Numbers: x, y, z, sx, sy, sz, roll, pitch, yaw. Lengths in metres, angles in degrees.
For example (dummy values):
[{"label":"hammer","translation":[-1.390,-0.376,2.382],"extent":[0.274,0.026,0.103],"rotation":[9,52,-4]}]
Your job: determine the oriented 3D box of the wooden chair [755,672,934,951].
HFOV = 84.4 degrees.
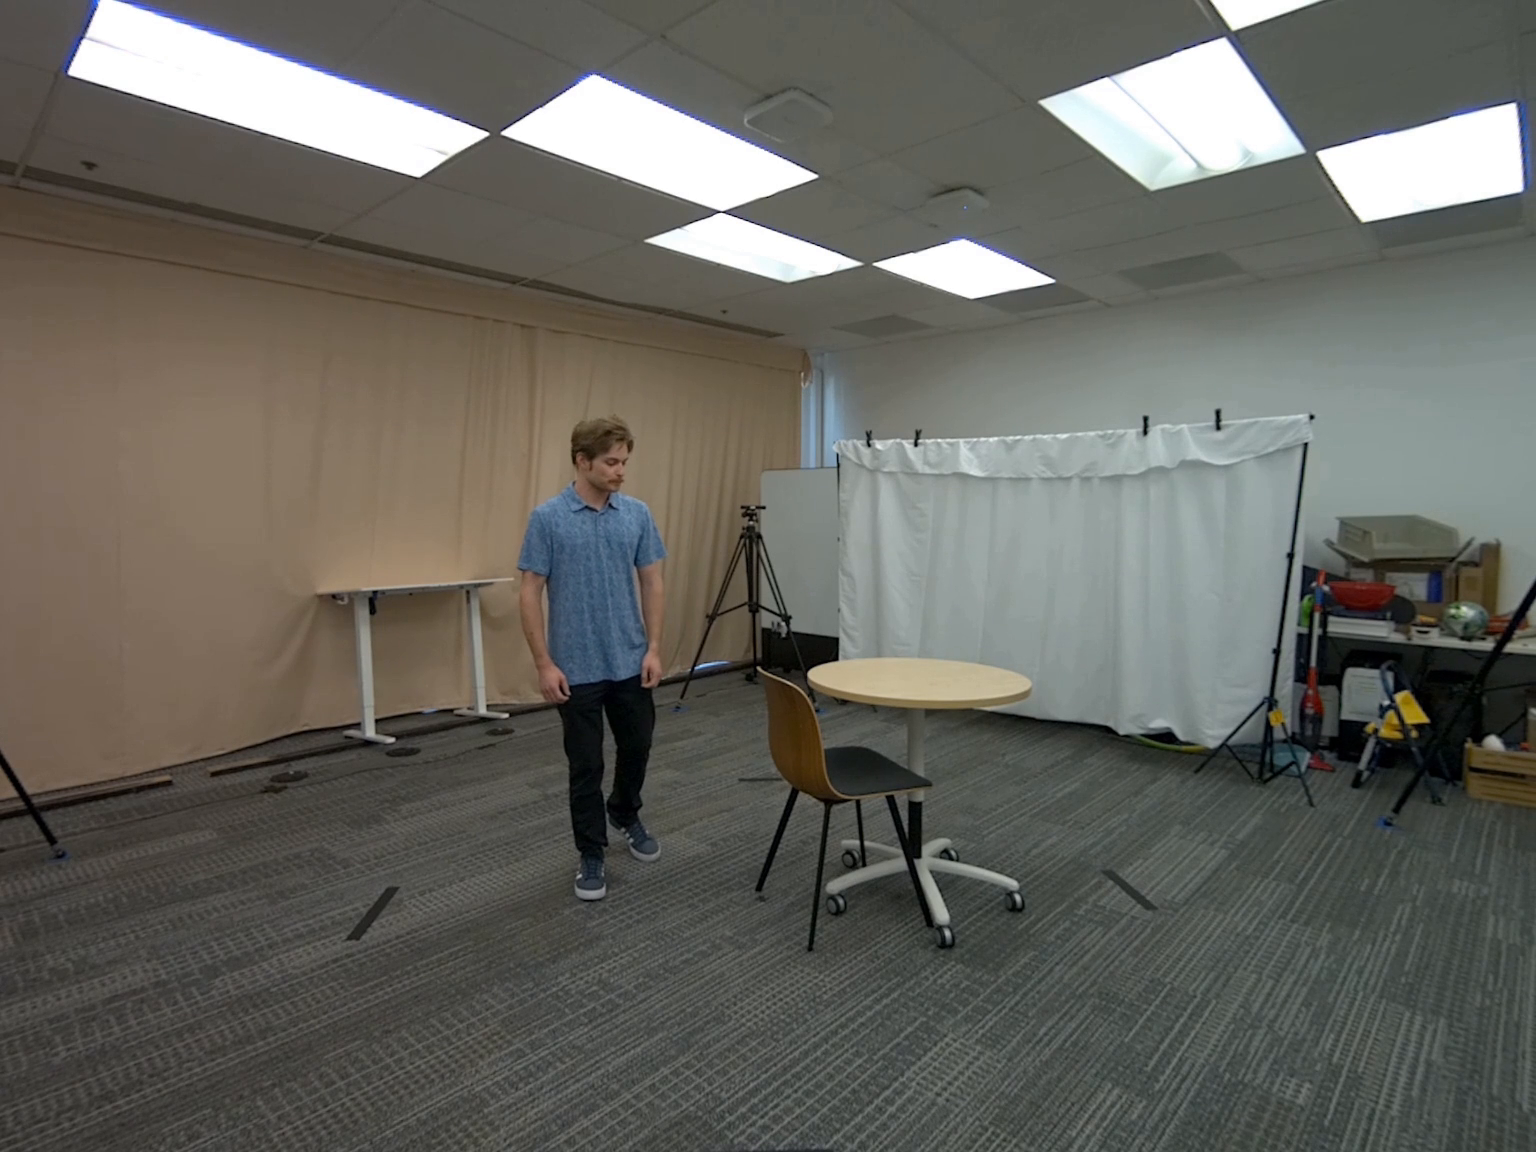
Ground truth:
[{"label":"wooden chair","translation":[0.258,0.723,2.878],"extent":[0.513,0.875,0.489],"rotation":[-6,4,-21]}]
